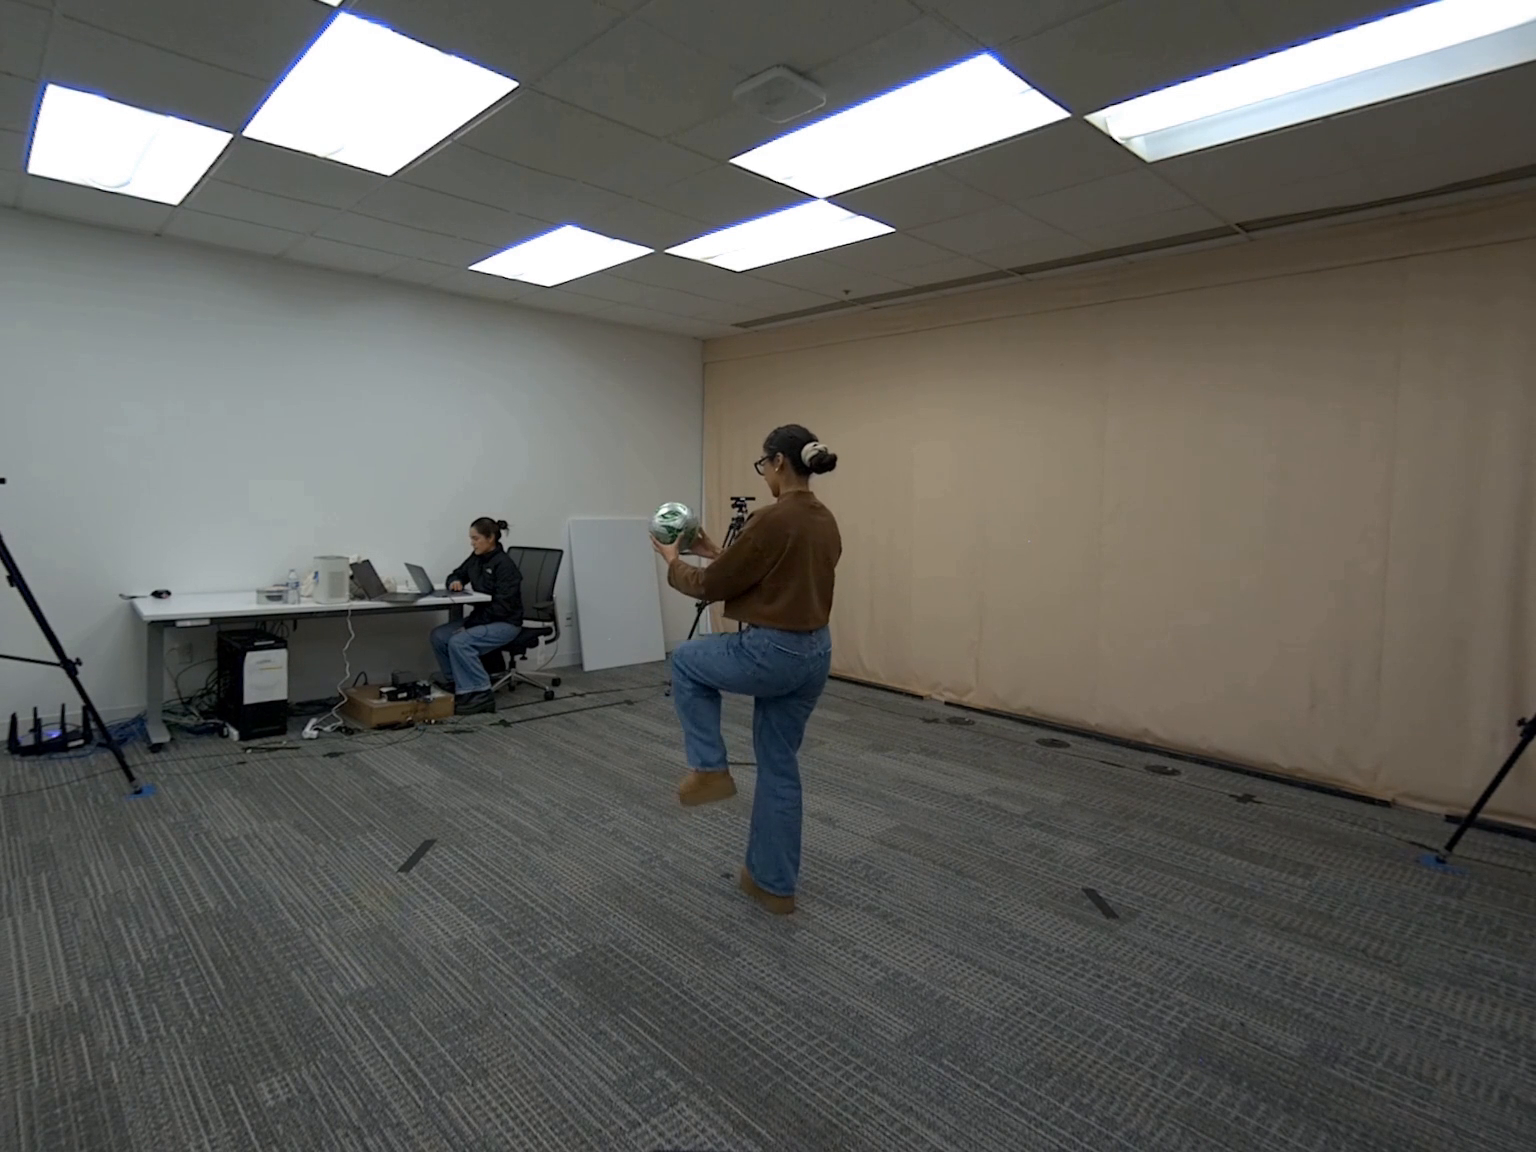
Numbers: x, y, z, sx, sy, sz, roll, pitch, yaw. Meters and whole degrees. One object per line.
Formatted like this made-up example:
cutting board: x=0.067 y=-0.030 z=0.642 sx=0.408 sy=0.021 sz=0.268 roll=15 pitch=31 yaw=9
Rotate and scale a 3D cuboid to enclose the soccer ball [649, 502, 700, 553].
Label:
soccer ball: x=-0.341 y=-0.172 z=3.068 sx=0.187 sy=0.187 sz=0.188 roll=1 pitch=4 yaw=-1
